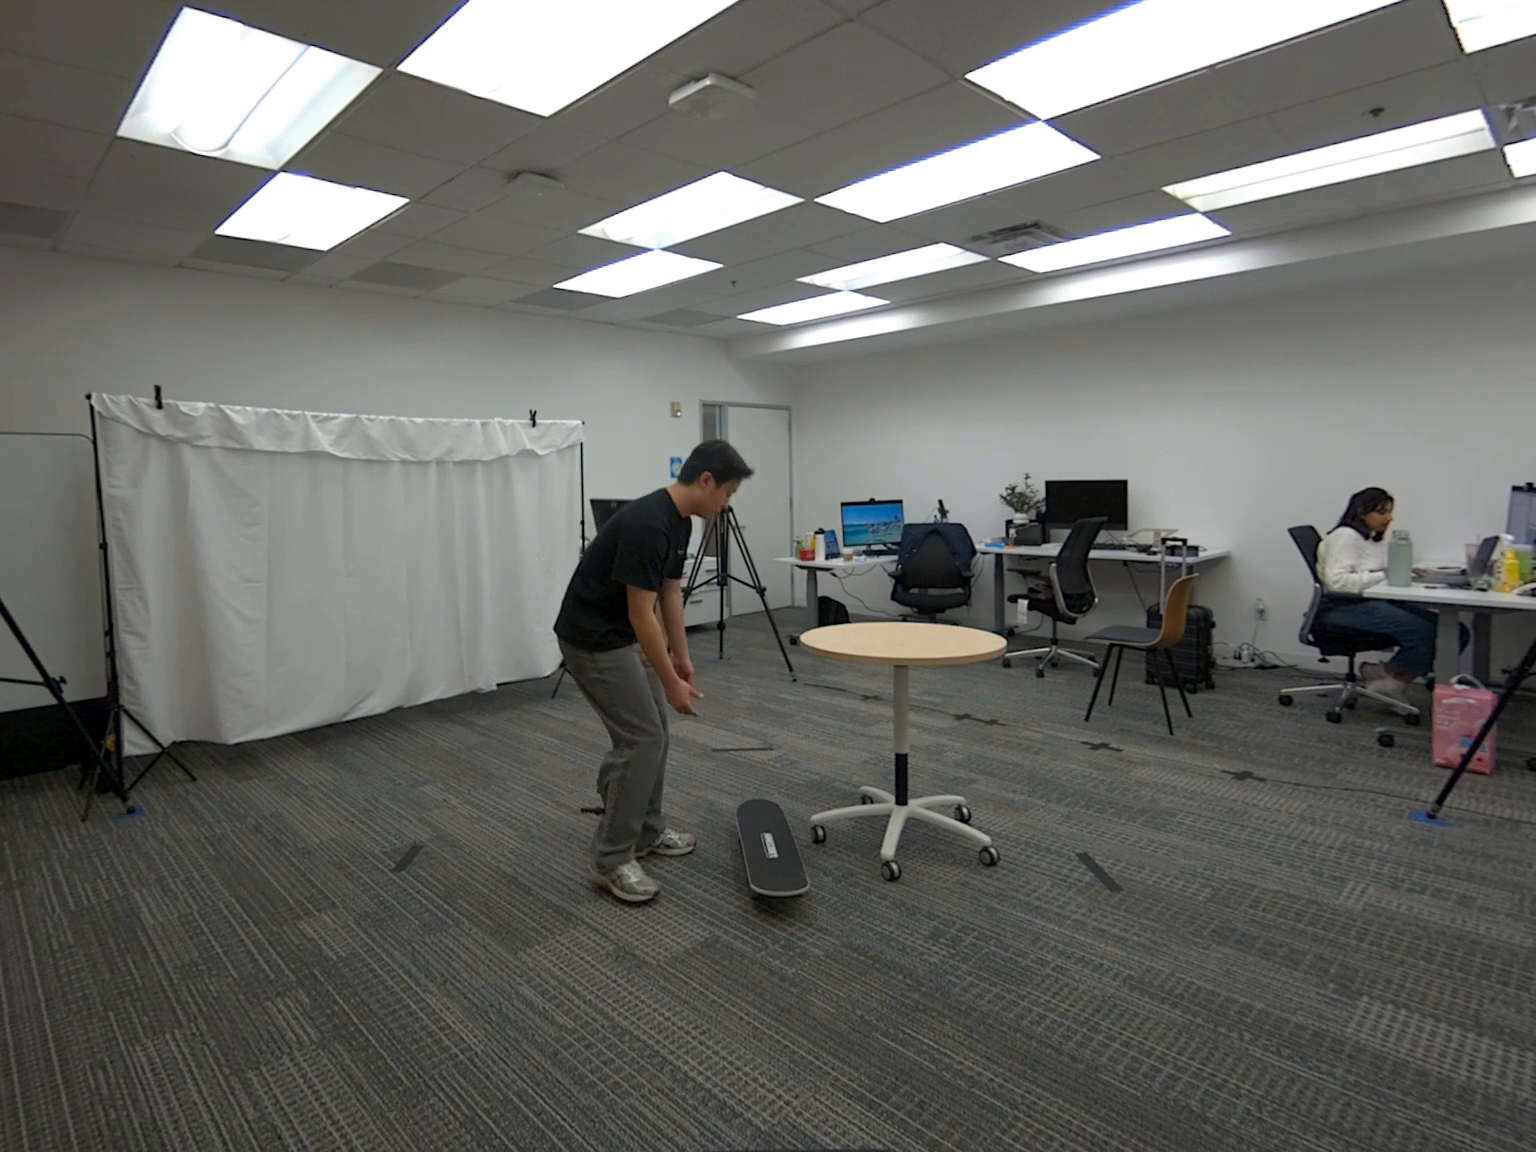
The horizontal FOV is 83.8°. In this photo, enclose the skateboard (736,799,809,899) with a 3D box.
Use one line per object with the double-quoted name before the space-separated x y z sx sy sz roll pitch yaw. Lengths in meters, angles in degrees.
"skateboard" 0.005 0.991 3.054 0.192 0.110 0.794 -1 6 -8
